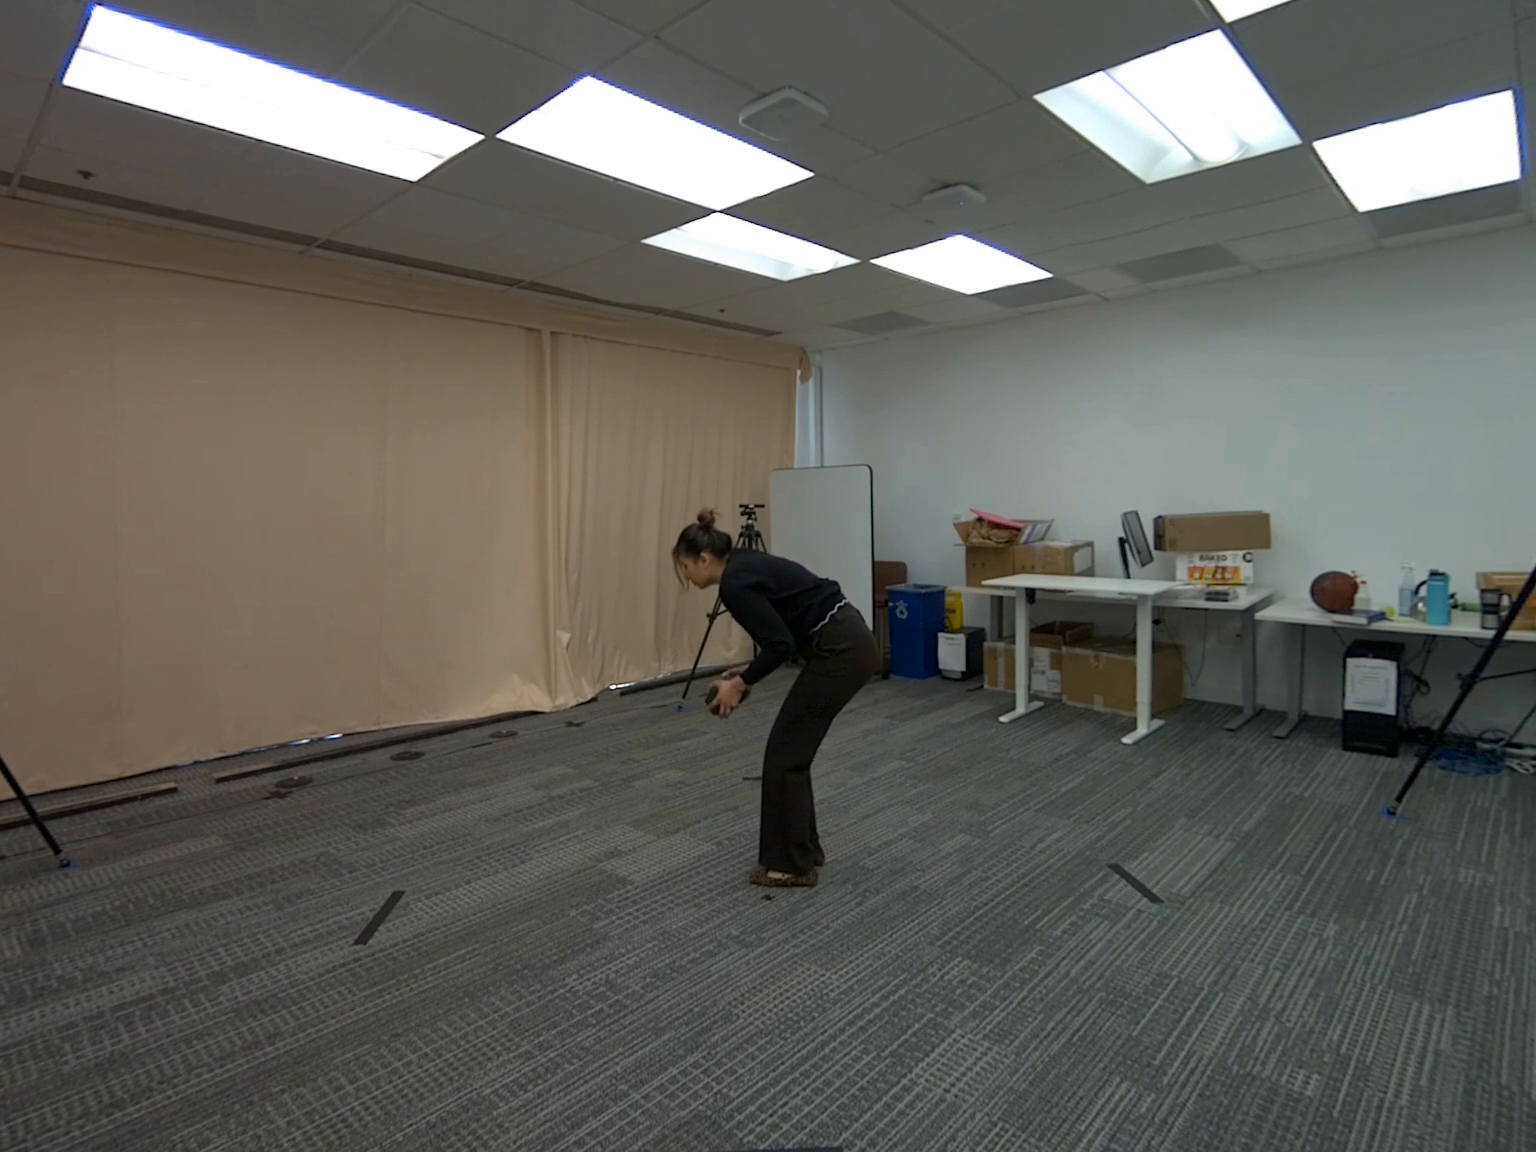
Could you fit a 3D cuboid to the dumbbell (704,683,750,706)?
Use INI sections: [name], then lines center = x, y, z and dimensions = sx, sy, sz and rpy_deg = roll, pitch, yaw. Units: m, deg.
[dumbbell]
center = -0.143, 0.451, 3.215
dimensions = 0.124, 0.108, 0.290
rpy_deg = 1, 2, 9
